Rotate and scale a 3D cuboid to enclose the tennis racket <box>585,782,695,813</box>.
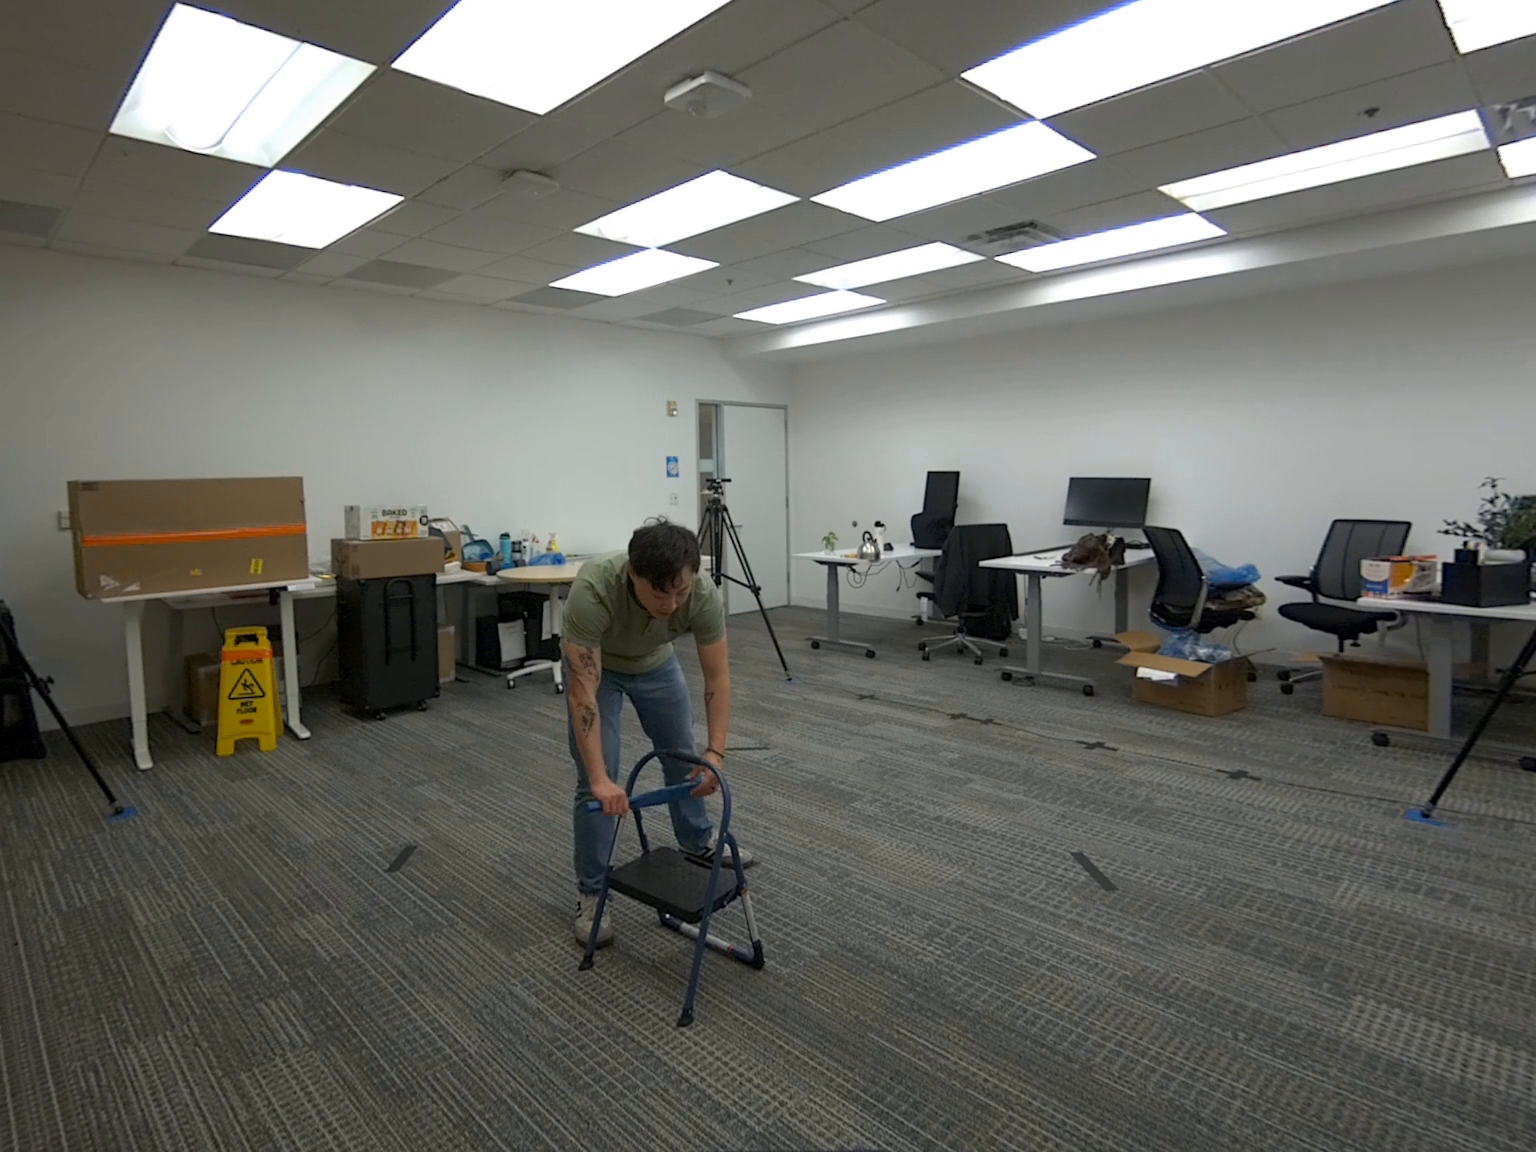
[{"bbox_3d":[-0.358,0.662,2.489,0.420,0.032,0.215,1,-28,-44],"label":"tennis racket"}]
